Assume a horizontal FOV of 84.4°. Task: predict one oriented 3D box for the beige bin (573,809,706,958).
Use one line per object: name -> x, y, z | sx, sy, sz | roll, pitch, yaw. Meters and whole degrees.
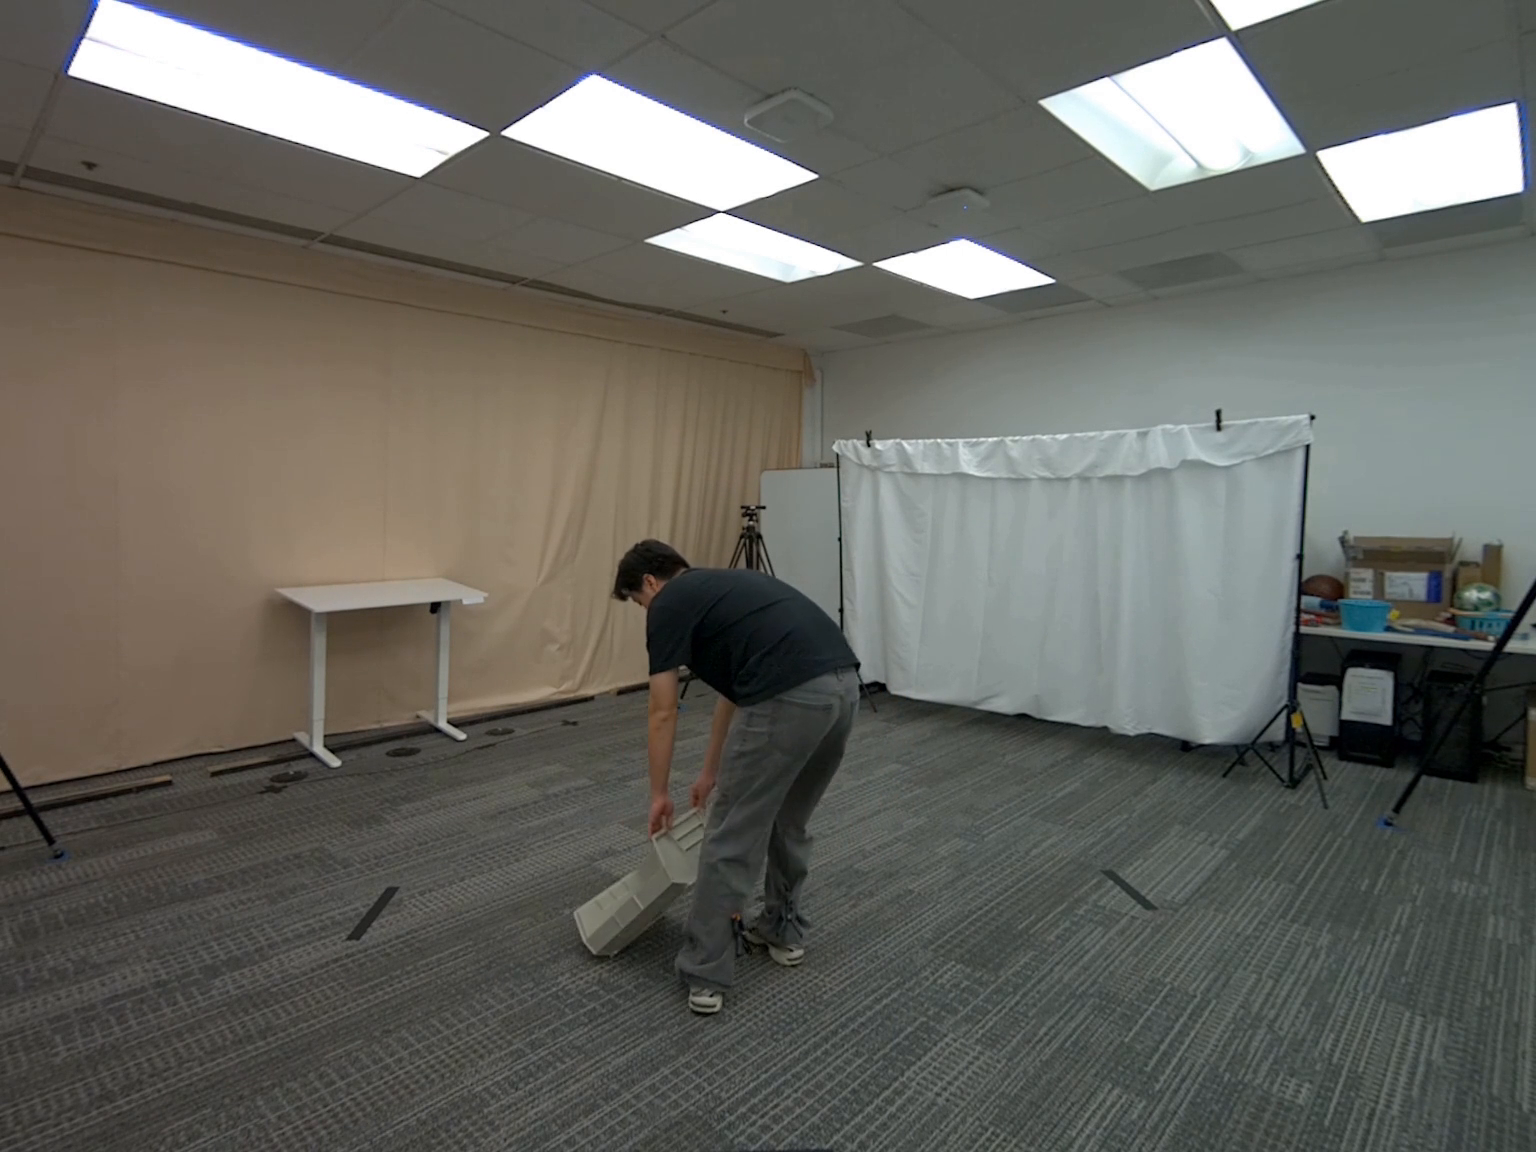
beige bin -> -0.350, 0.962, 2.664 | 0.424, 0.193, 0.368 | -47, -17, 22
